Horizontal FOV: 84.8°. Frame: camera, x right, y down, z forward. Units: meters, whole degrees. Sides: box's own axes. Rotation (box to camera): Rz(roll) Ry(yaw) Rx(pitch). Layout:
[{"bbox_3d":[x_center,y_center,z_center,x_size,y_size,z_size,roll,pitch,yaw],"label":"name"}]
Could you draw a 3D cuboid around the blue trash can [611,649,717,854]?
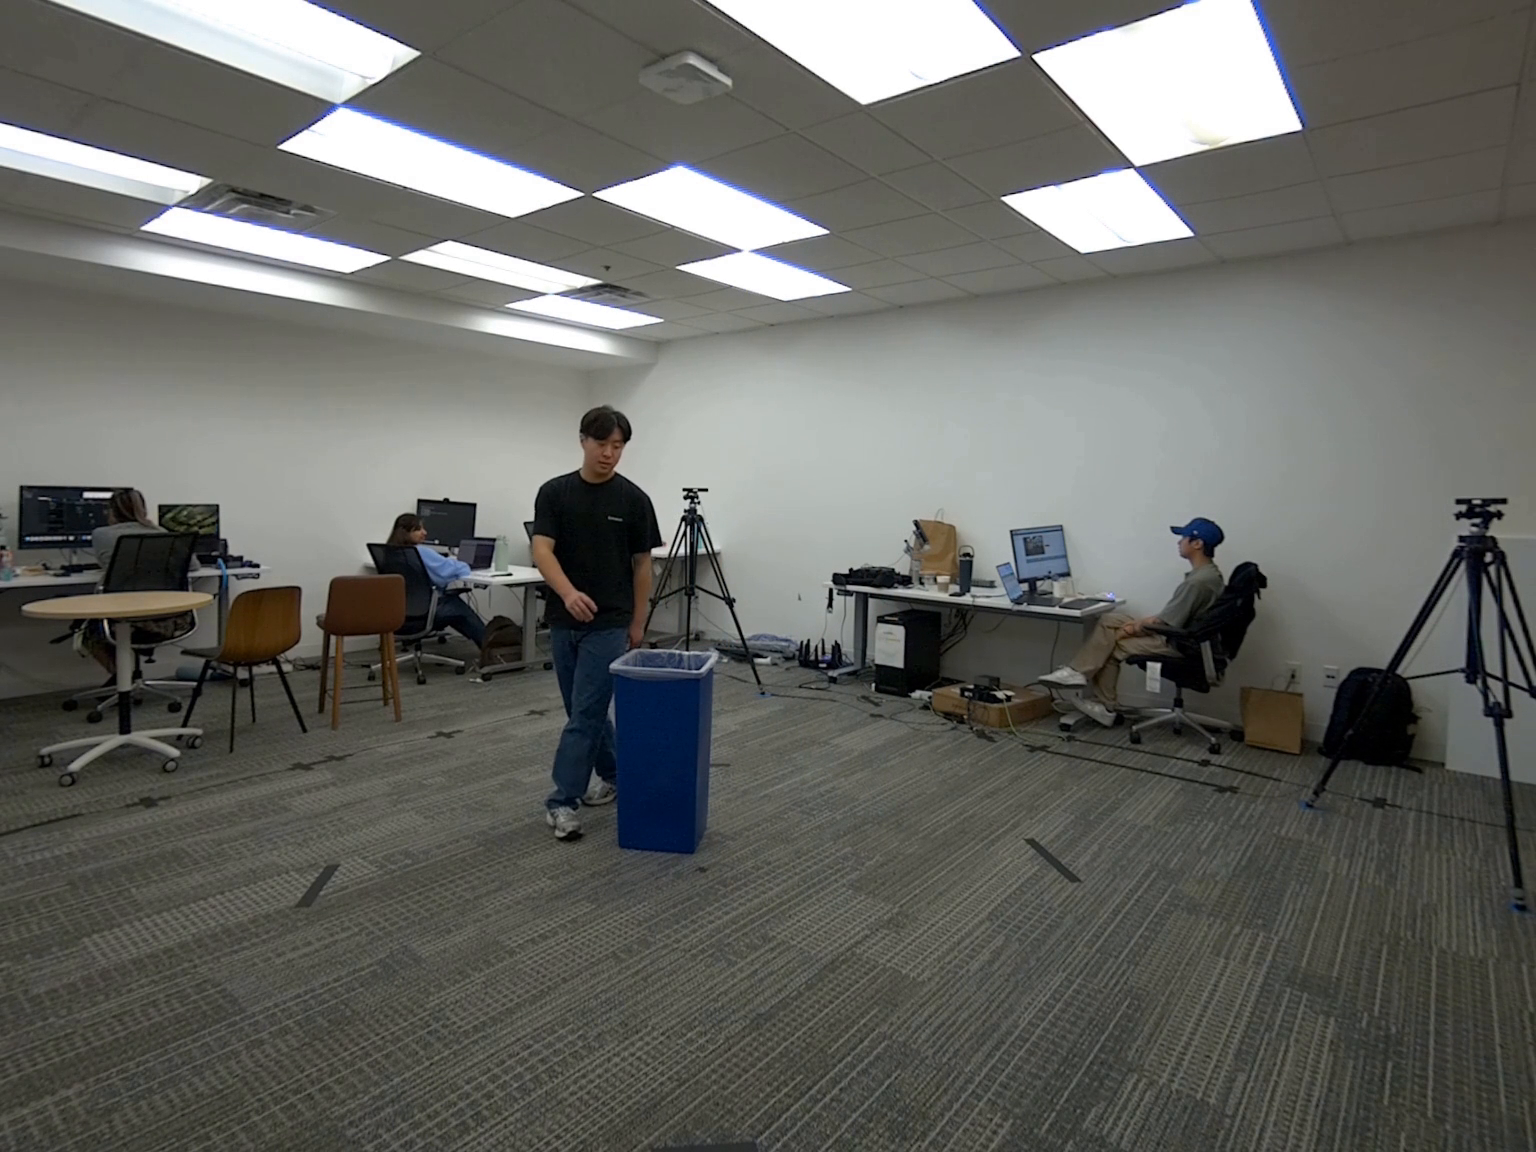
[{"bbox_3d":[-0.423,0.679,3.387,0.381,0.710,0.372,2,5,7],"label":"blue trash can"}]
